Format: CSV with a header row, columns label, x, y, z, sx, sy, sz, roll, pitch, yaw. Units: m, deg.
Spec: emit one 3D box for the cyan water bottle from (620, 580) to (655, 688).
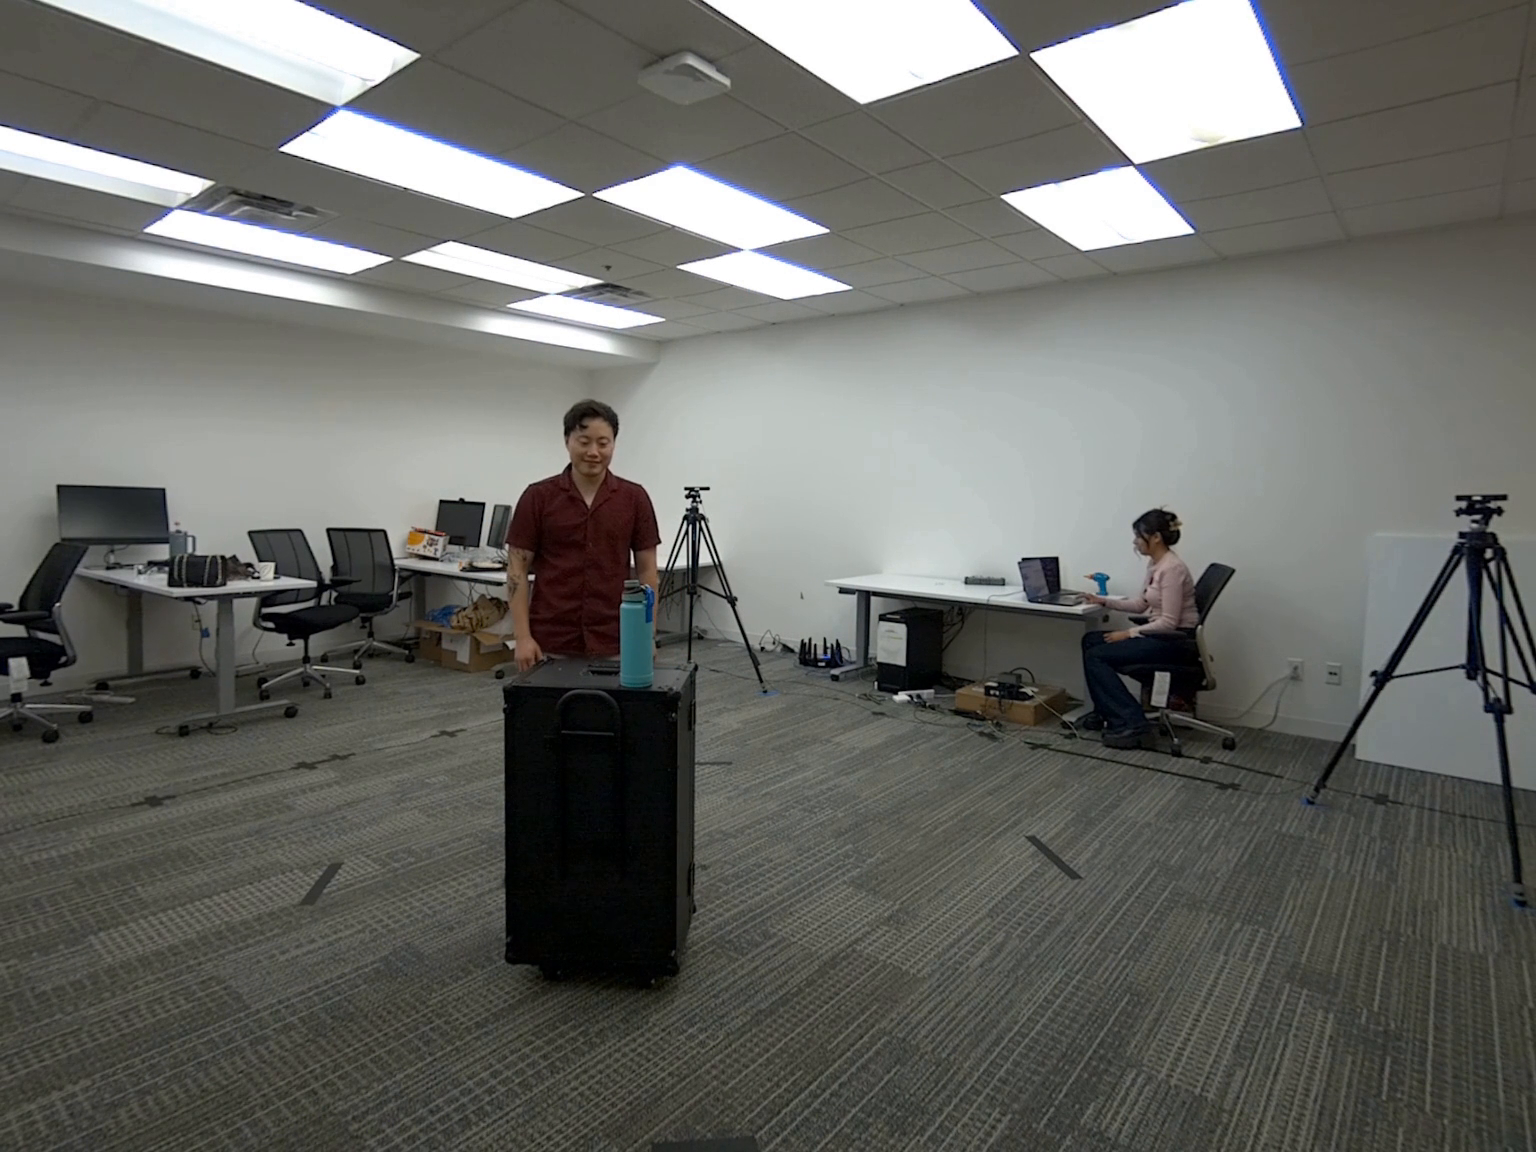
label,x,y,z,sx,sy,sz,roll,pitch,yaw
cyan water bottle,-0.369,0.152,2.337,0.092,0.282,0.093,1,4,-2
